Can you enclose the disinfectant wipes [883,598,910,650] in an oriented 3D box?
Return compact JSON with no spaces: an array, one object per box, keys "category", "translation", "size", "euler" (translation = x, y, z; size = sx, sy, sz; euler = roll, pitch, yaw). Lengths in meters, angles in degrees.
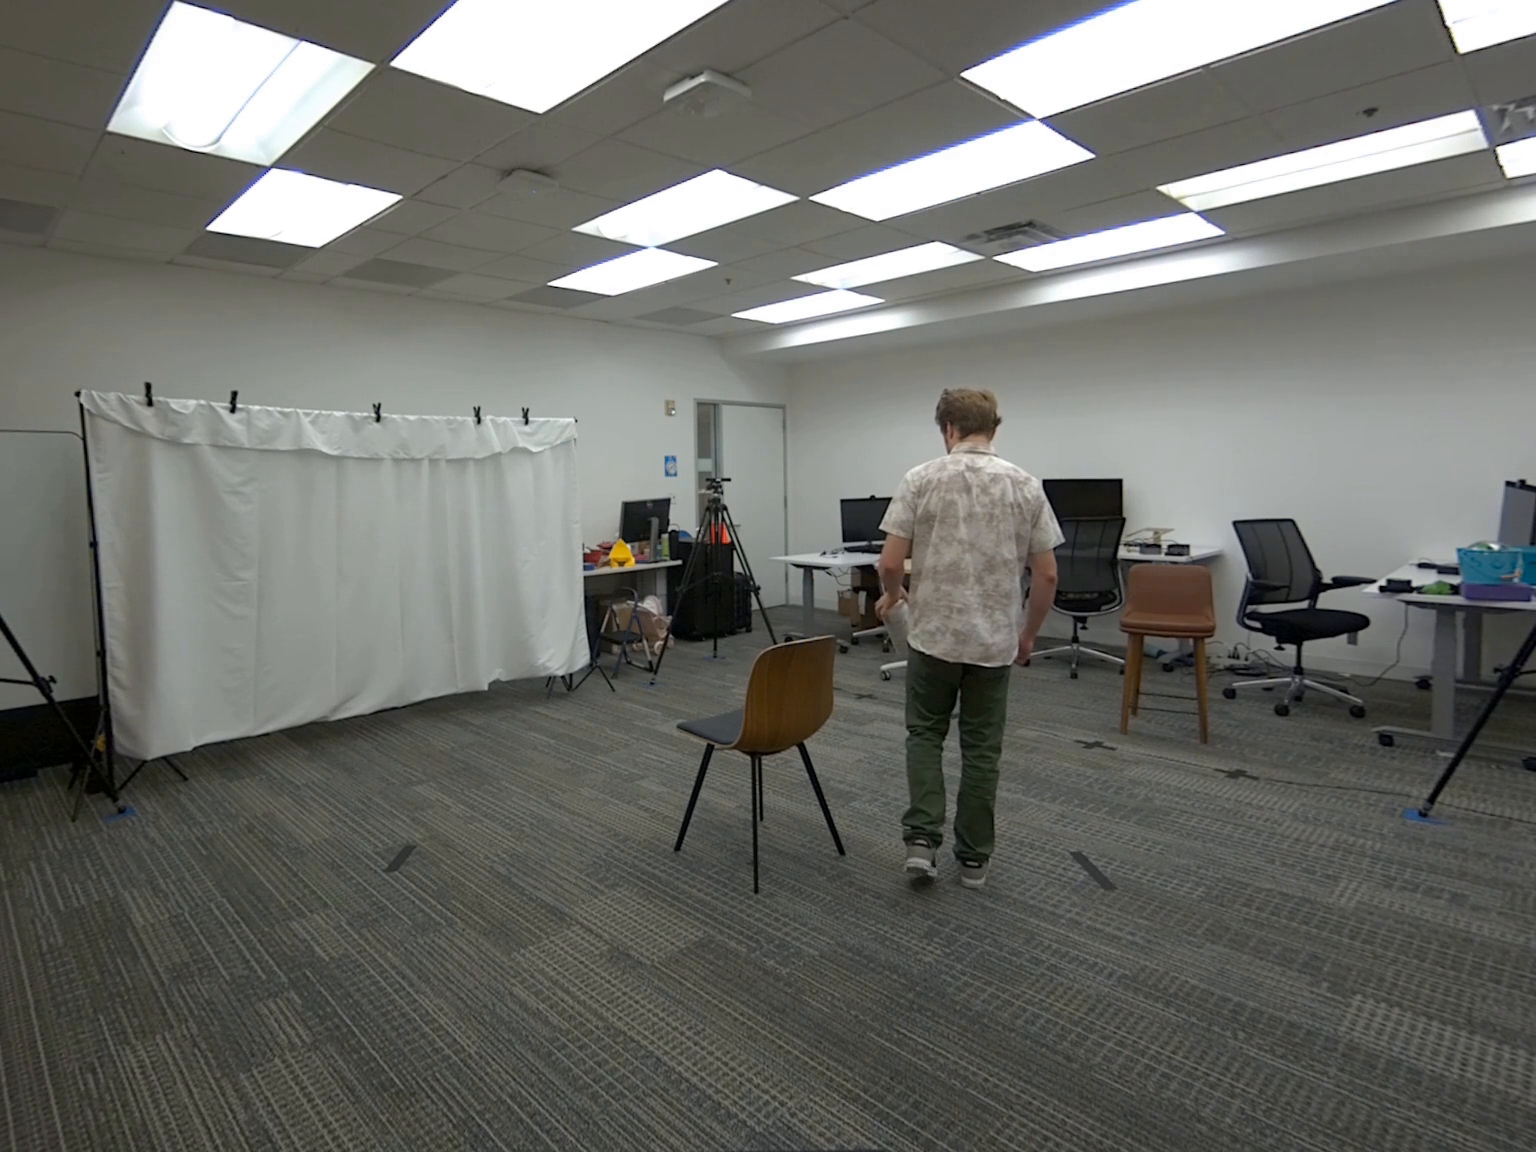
[{"category":"disinfectant wipes","translation":[0.516,0.206,3.223],"size":[0.118,0.212,0.120],"euler":[-19,20,6]}]
